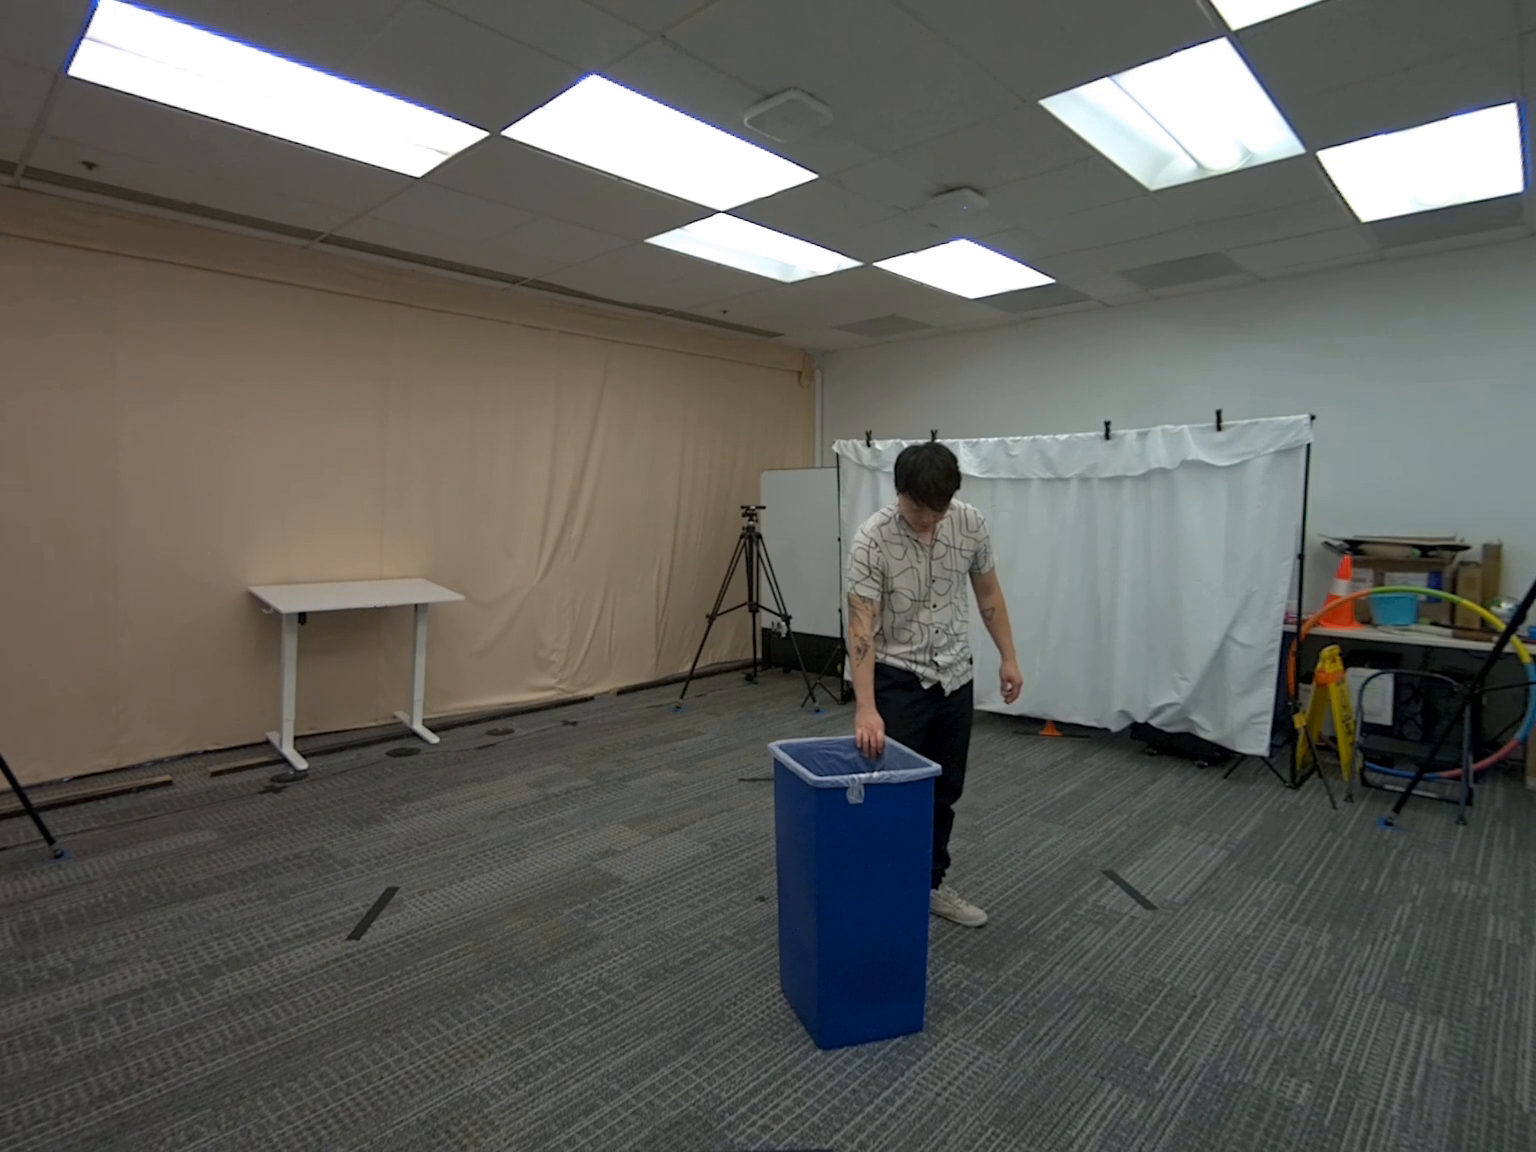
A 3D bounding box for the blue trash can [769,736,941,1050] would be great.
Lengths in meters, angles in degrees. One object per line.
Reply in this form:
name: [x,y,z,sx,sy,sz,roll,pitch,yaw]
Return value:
blue trash can: [0.222,0.842,2.318,0.371,0.712,0.382,0,3,-19]
